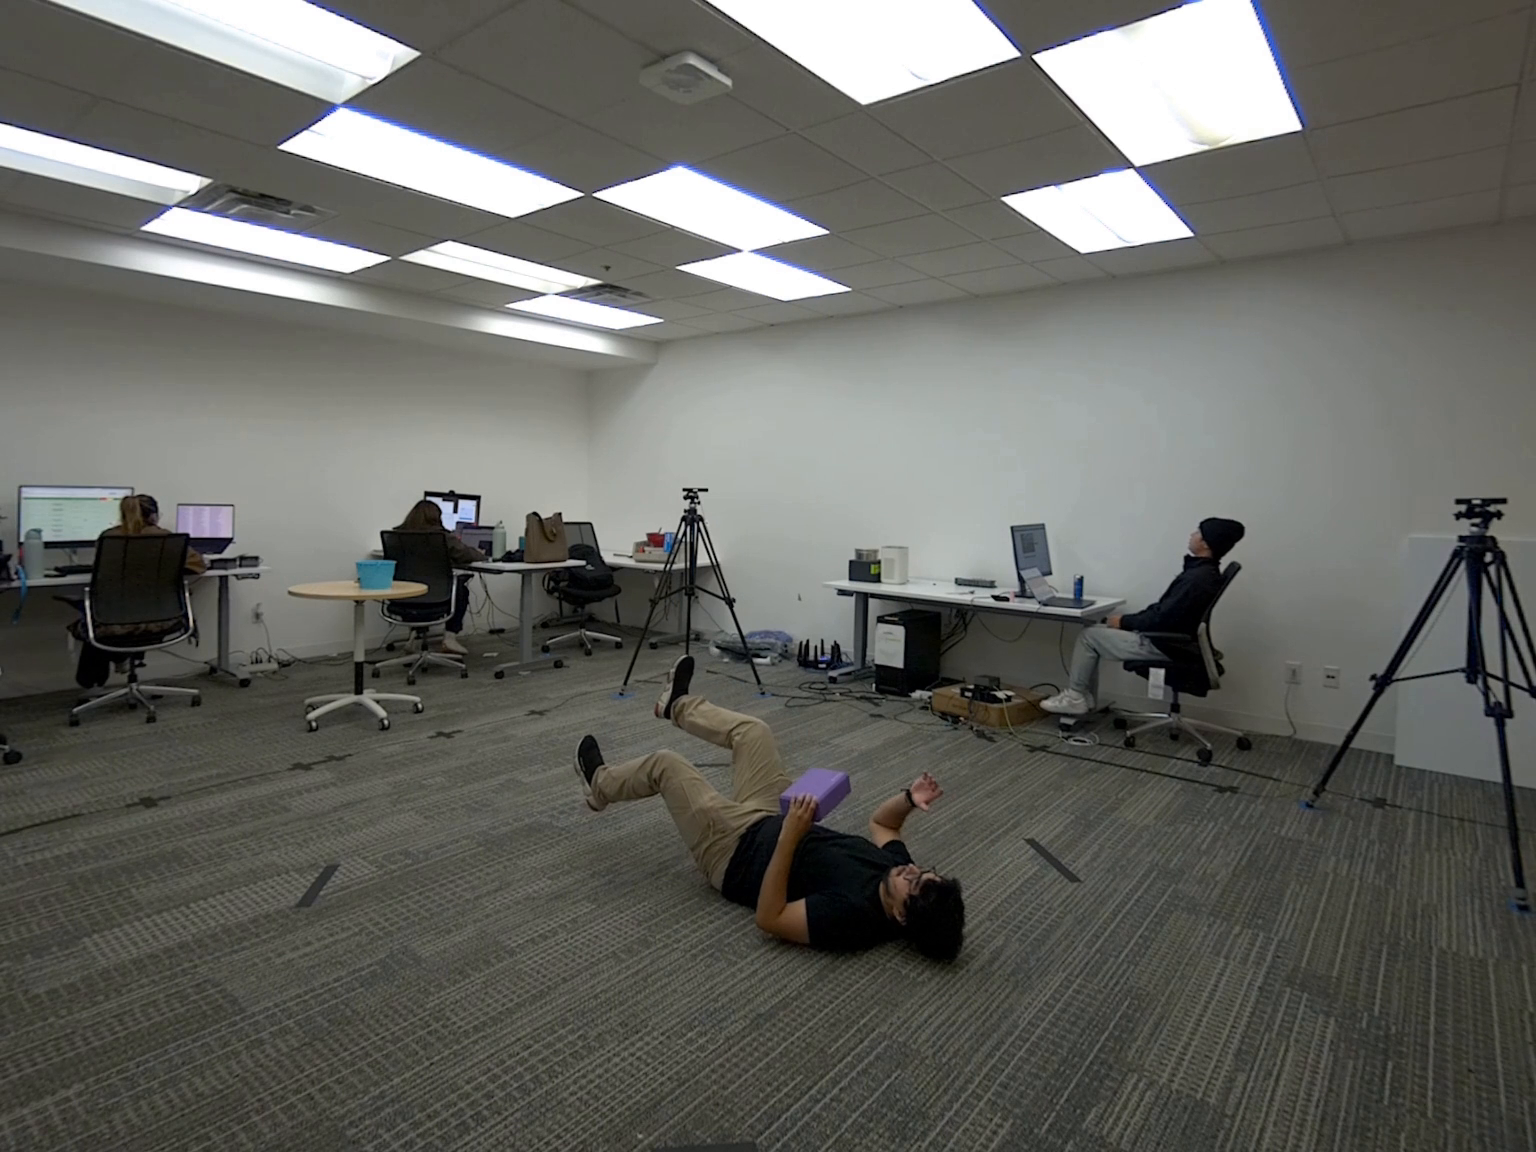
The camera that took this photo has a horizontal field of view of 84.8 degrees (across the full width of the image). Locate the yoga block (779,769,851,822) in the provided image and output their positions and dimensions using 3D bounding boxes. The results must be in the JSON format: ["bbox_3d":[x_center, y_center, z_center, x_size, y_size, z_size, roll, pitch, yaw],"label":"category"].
[{"bbox_3d":[0.150,0.721,2.798,0.153,0.076,0.225,-3,12,34],"label":"yoga block"}]
